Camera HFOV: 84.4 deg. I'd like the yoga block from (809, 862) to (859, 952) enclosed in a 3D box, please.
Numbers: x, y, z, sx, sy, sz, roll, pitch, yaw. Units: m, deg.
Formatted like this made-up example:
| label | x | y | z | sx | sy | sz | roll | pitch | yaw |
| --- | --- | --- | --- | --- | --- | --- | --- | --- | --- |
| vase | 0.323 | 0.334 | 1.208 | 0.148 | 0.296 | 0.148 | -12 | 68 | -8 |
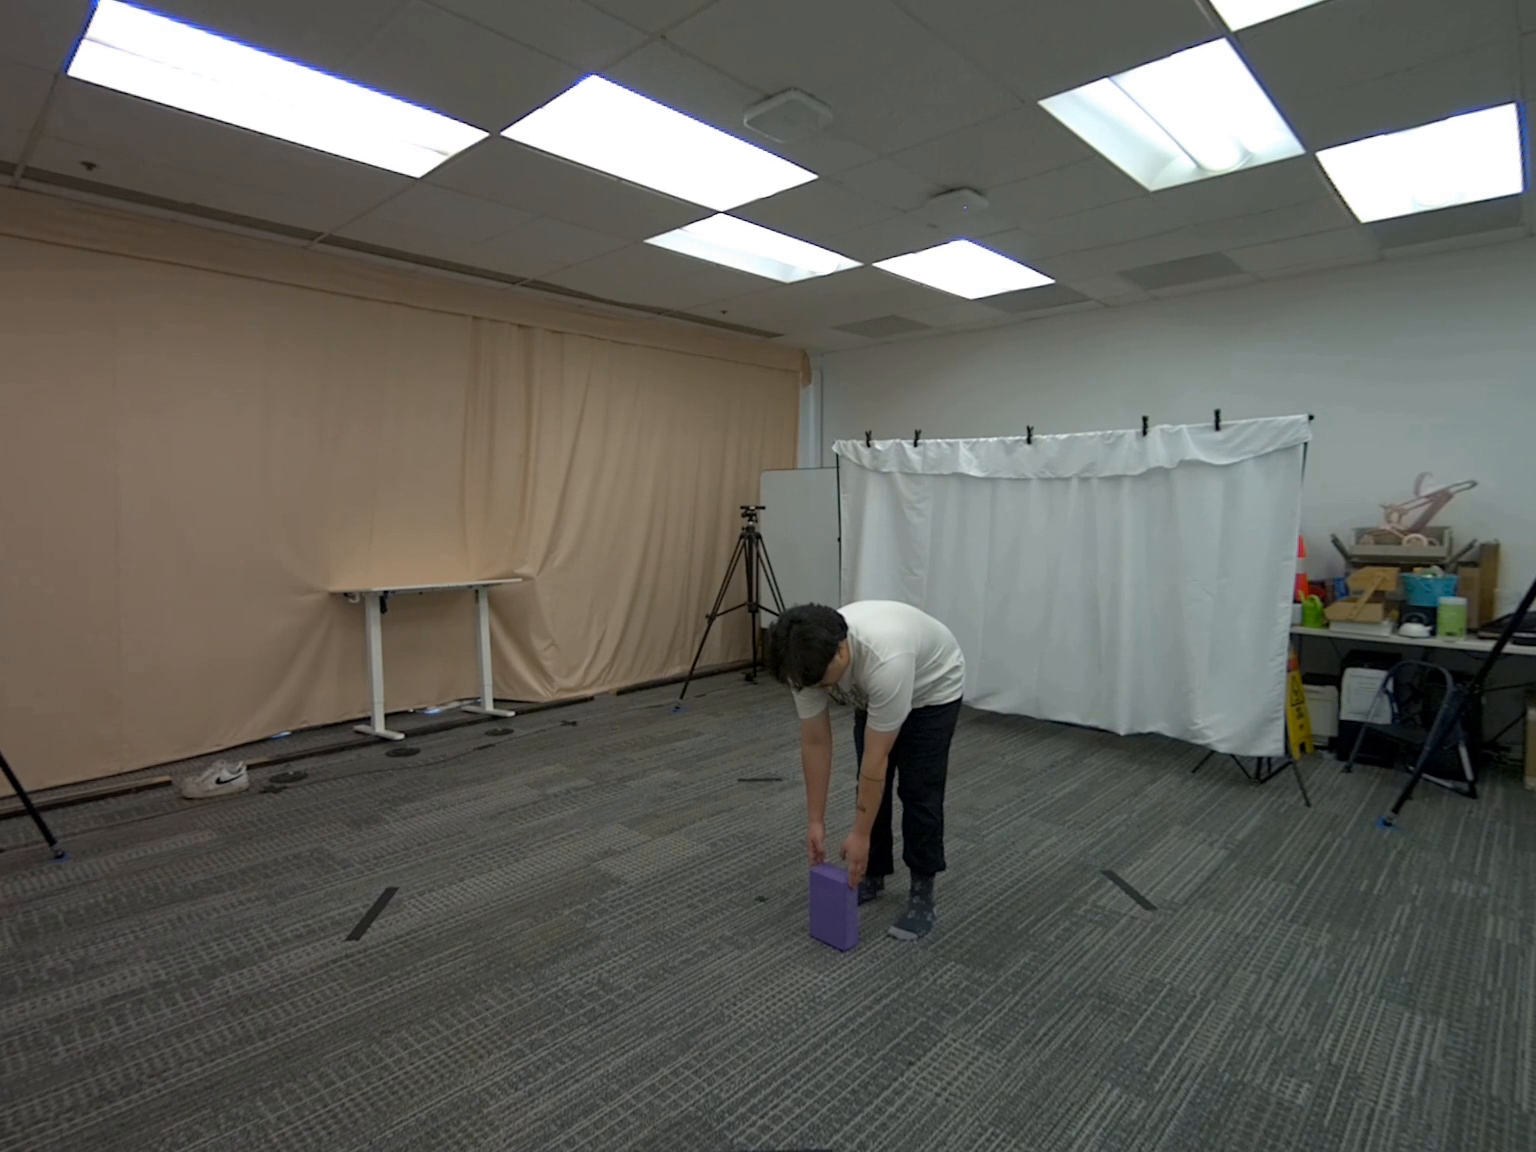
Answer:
| label | x | y | z | sx | sy | sz | roll | pitch | yaw |
| --- | --- | --- | --- | --- | --- | --- | --- | --- | --- |
| yoga block | 0.218 | 1.058 | 2.686 | 0.154 | 0.229 | 0.074 | 5 | 4 | 43 |
